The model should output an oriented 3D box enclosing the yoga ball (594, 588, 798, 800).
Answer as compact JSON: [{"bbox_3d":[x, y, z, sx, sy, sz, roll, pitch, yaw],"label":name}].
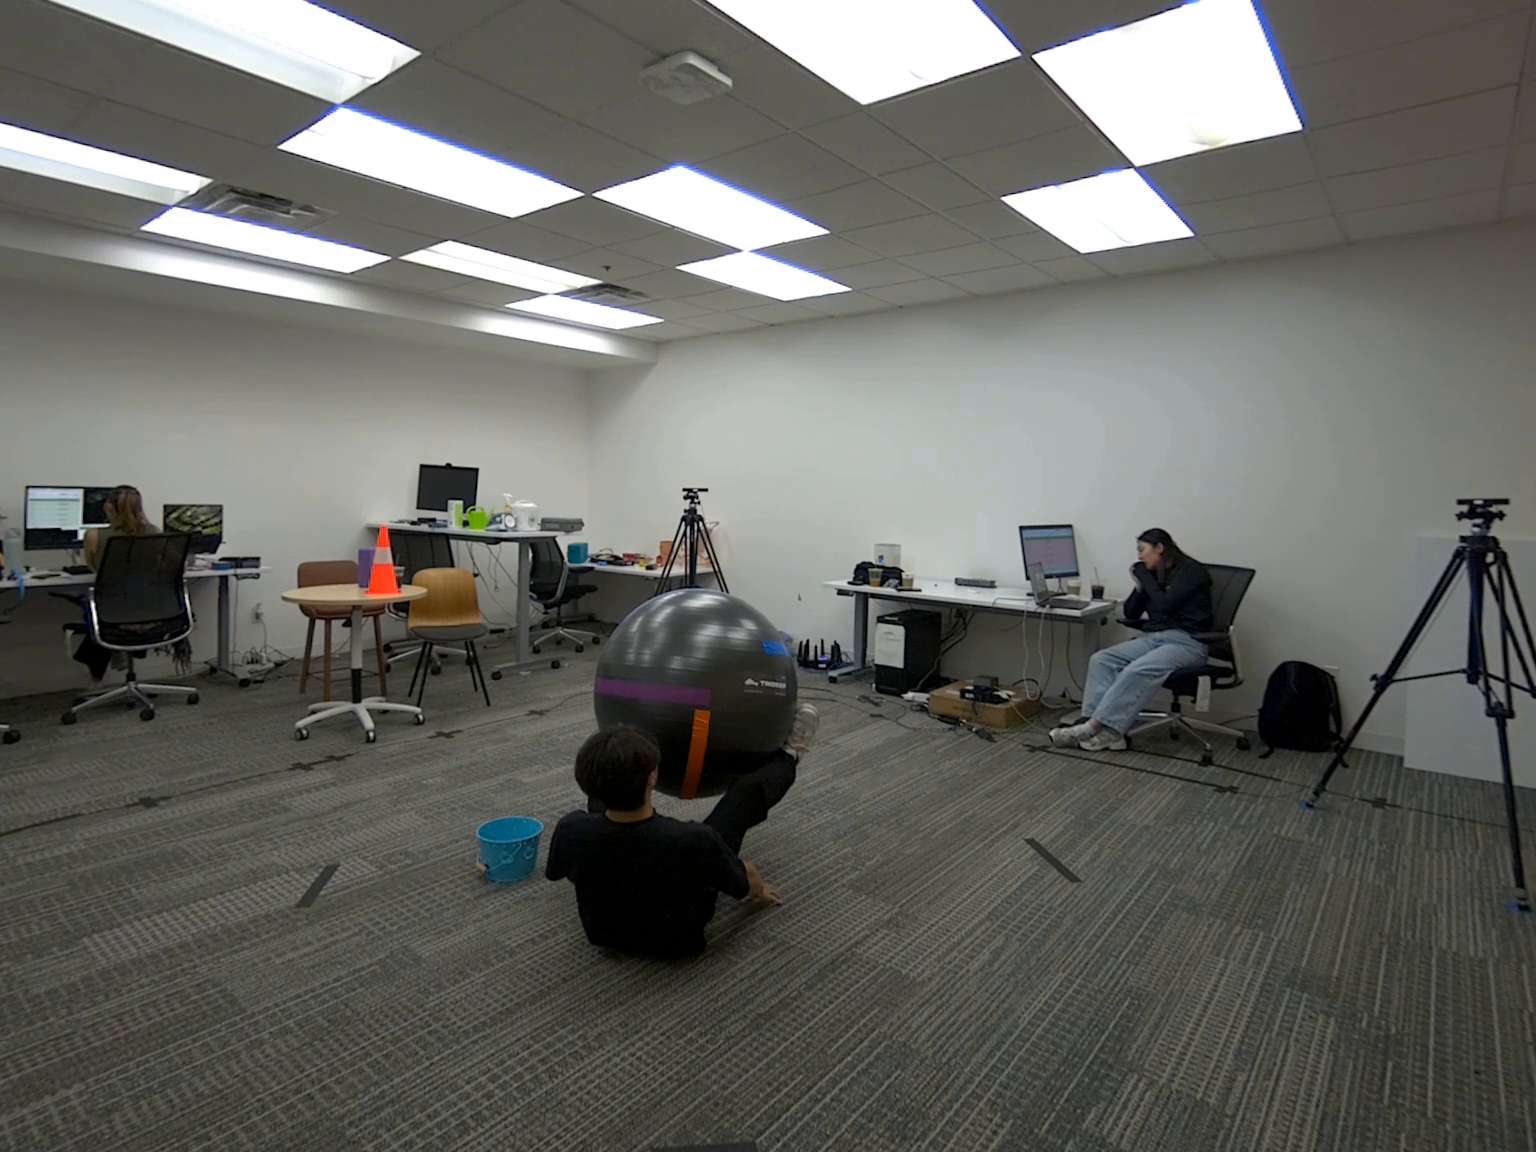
[{"bbox_3d":[-0.280,0.428,3.164,0.757,0.755,0.762,1,4,-2],"label":"yoga ball"}]
